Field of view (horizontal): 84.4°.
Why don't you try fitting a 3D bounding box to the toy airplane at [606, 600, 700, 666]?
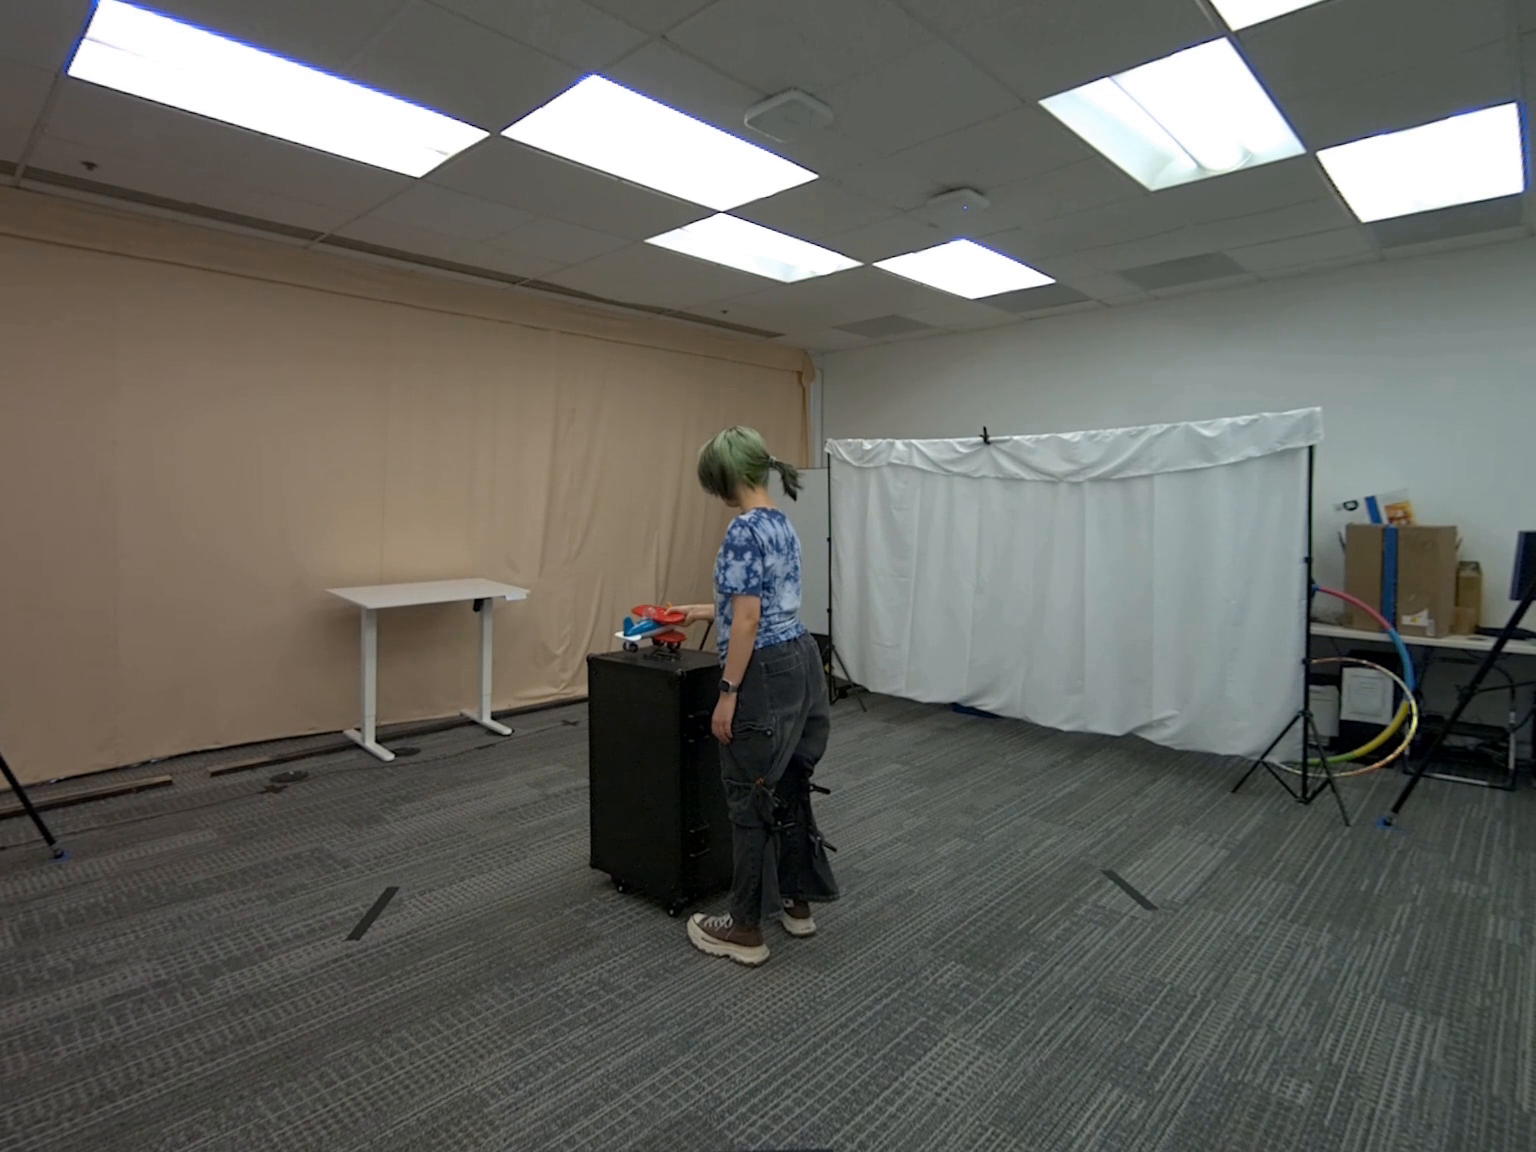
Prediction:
[{"bbox_3d":[-0.418,0.203,3.124,0.255,0.156,0.255,10,6,14],"label":"toy airplane"}]
